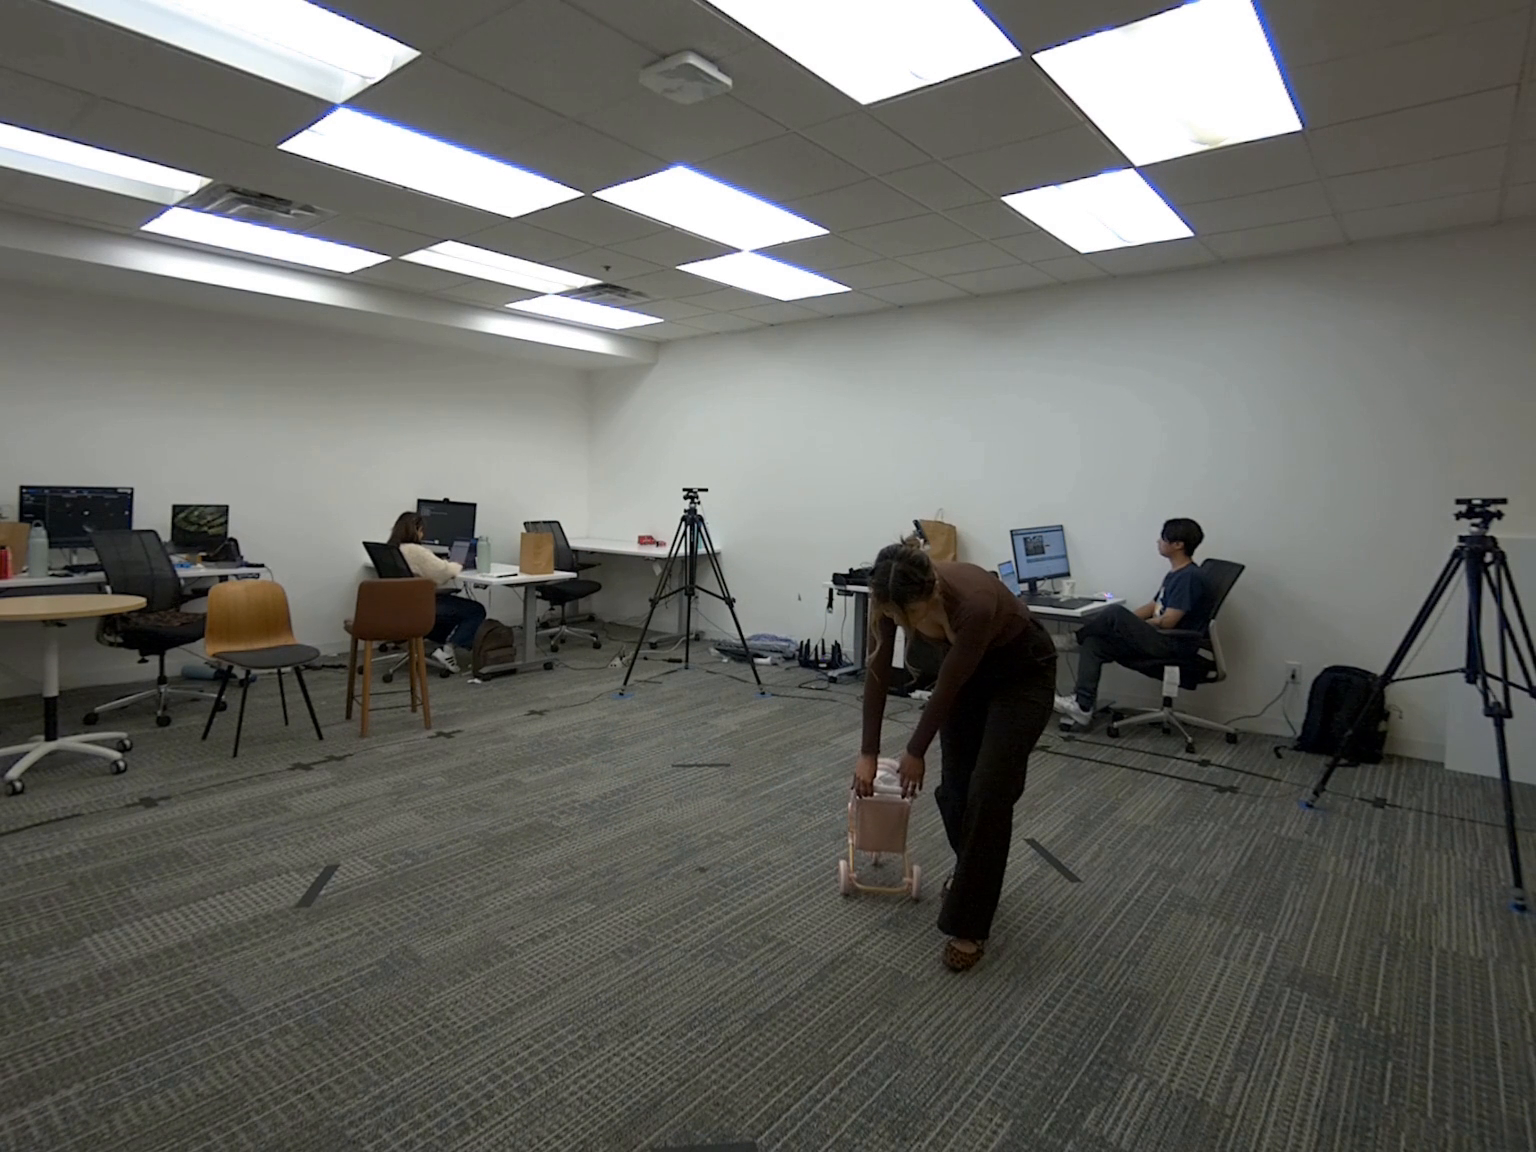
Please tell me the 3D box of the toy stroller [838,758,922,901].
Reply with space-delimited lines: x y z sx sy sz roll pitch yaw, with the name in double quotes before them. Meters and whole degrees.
"toy stroller" 0.391 0.869 2.993 0.284 0.525 0.344 3 21 9
